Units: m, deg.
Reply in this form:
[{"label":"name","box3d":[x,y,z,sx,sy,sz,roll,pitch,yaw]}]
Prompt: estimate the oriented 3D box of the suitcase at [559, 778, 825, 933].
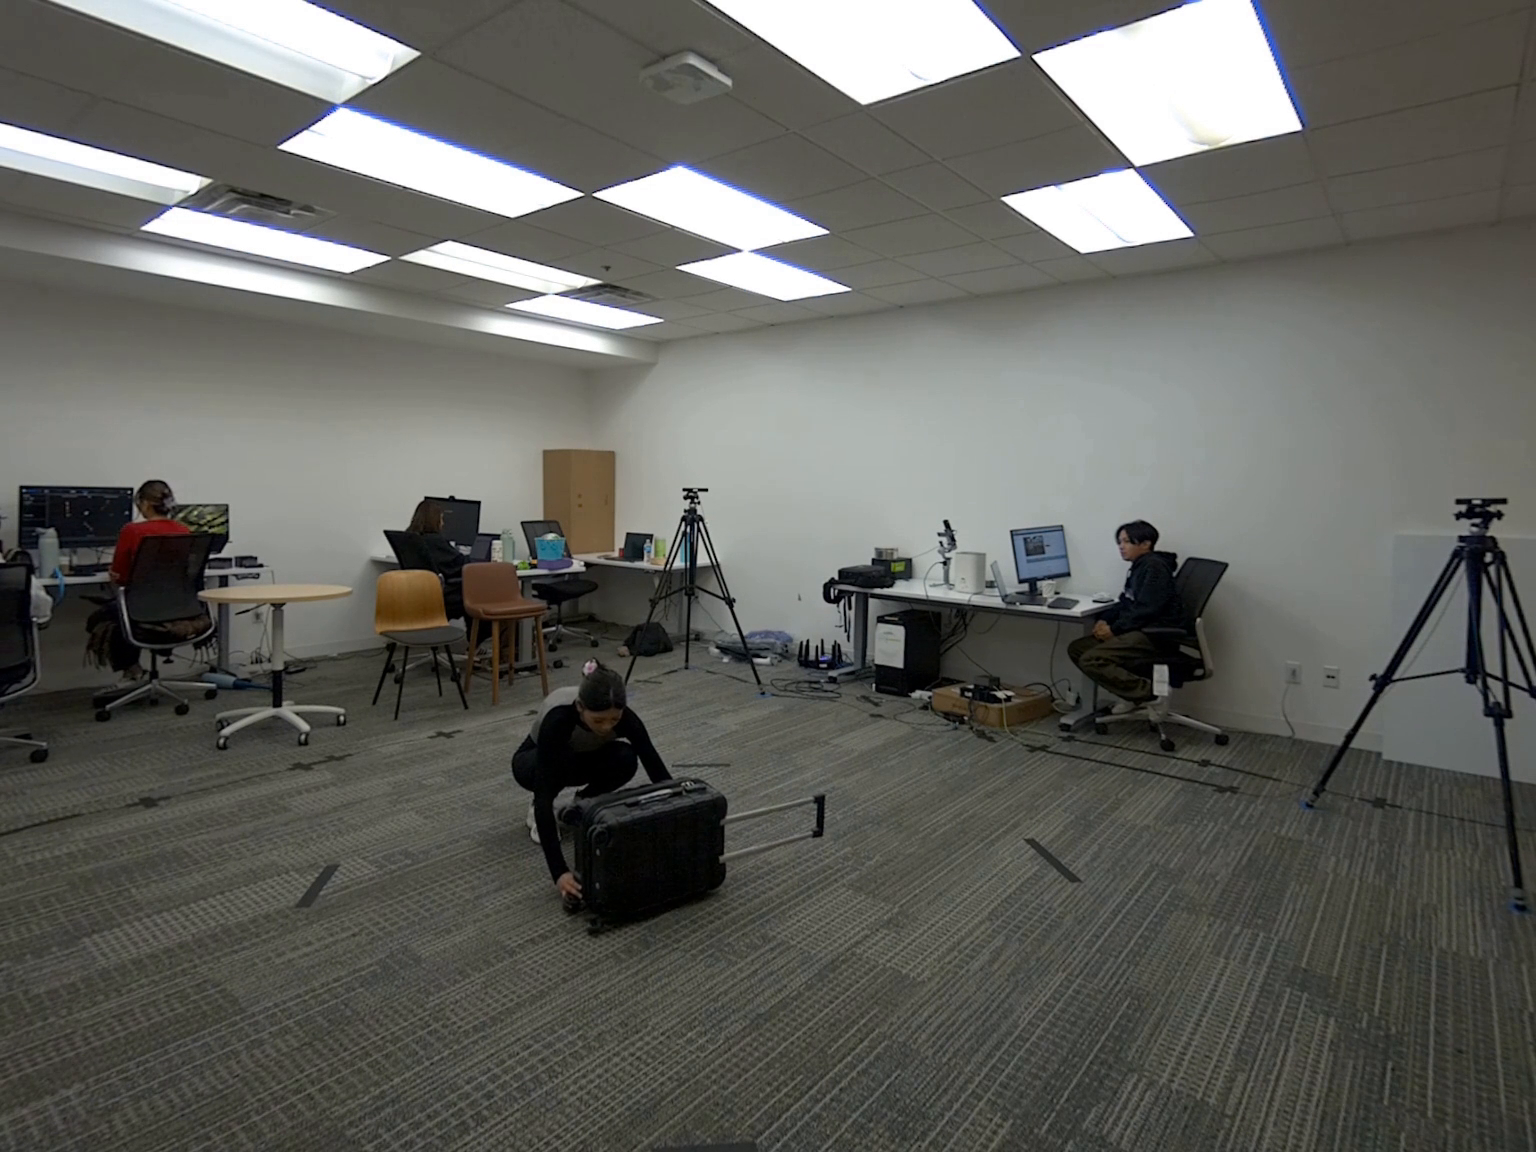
[{"label":"suitcase","box3d":[-0.251,0.889,2.982,0.950,0.382,0.266,-4,6,-38]}]
